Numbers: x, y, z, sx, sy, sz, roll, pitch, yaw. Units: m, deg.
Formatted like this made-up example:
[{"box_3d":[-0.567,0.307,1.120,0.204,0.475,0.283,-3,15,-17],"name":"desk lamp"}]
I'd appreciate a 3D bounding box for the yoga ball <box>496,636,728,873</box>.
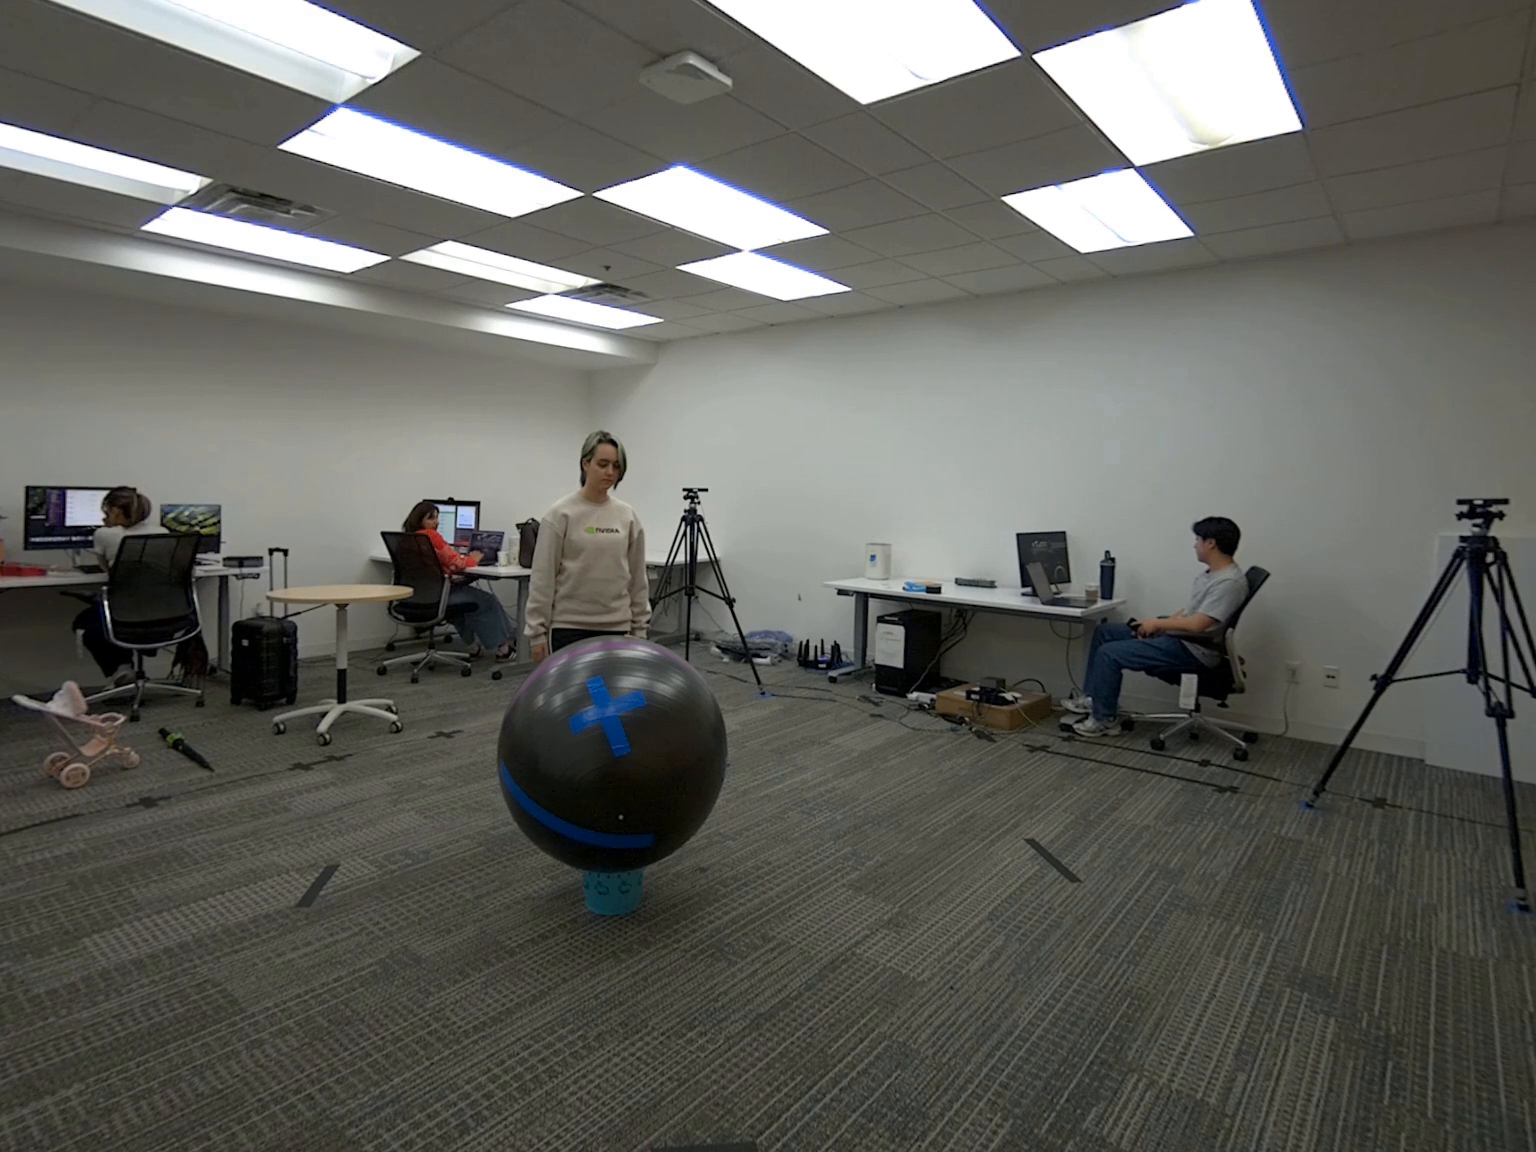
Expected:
[{"box_3d":[-0.521,0.579,2.827,0.757,0.755,0.762,1,4,-2],"name":"yoga ball"}]
